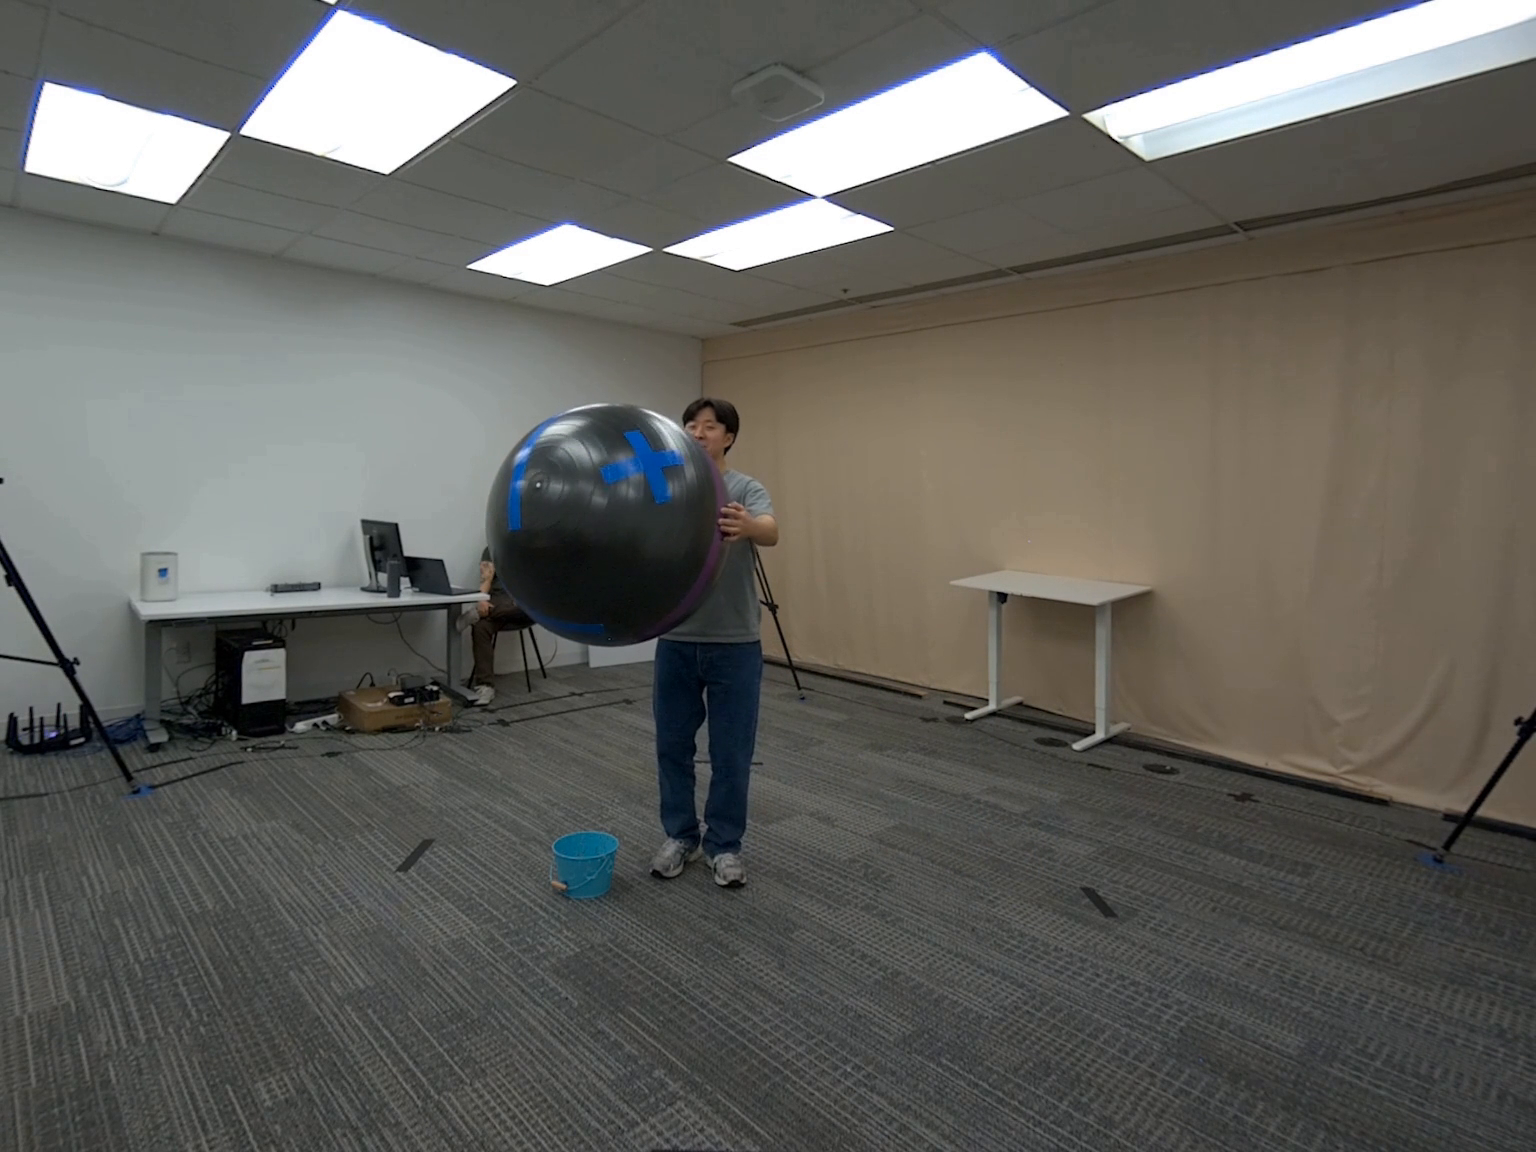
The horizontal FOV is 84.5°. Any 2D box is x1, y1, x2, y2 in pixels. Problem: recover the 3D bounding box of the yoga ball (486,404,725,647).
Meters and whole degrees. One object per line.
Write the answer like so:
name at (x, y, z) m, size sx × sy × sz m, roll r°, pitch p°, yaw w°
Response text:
yoga ball at (-0.505, -0.147, 2.628) m, size 0.757 × 0.756 × 0.761 m, roll 1°, pitch 4°, yaw -1°
